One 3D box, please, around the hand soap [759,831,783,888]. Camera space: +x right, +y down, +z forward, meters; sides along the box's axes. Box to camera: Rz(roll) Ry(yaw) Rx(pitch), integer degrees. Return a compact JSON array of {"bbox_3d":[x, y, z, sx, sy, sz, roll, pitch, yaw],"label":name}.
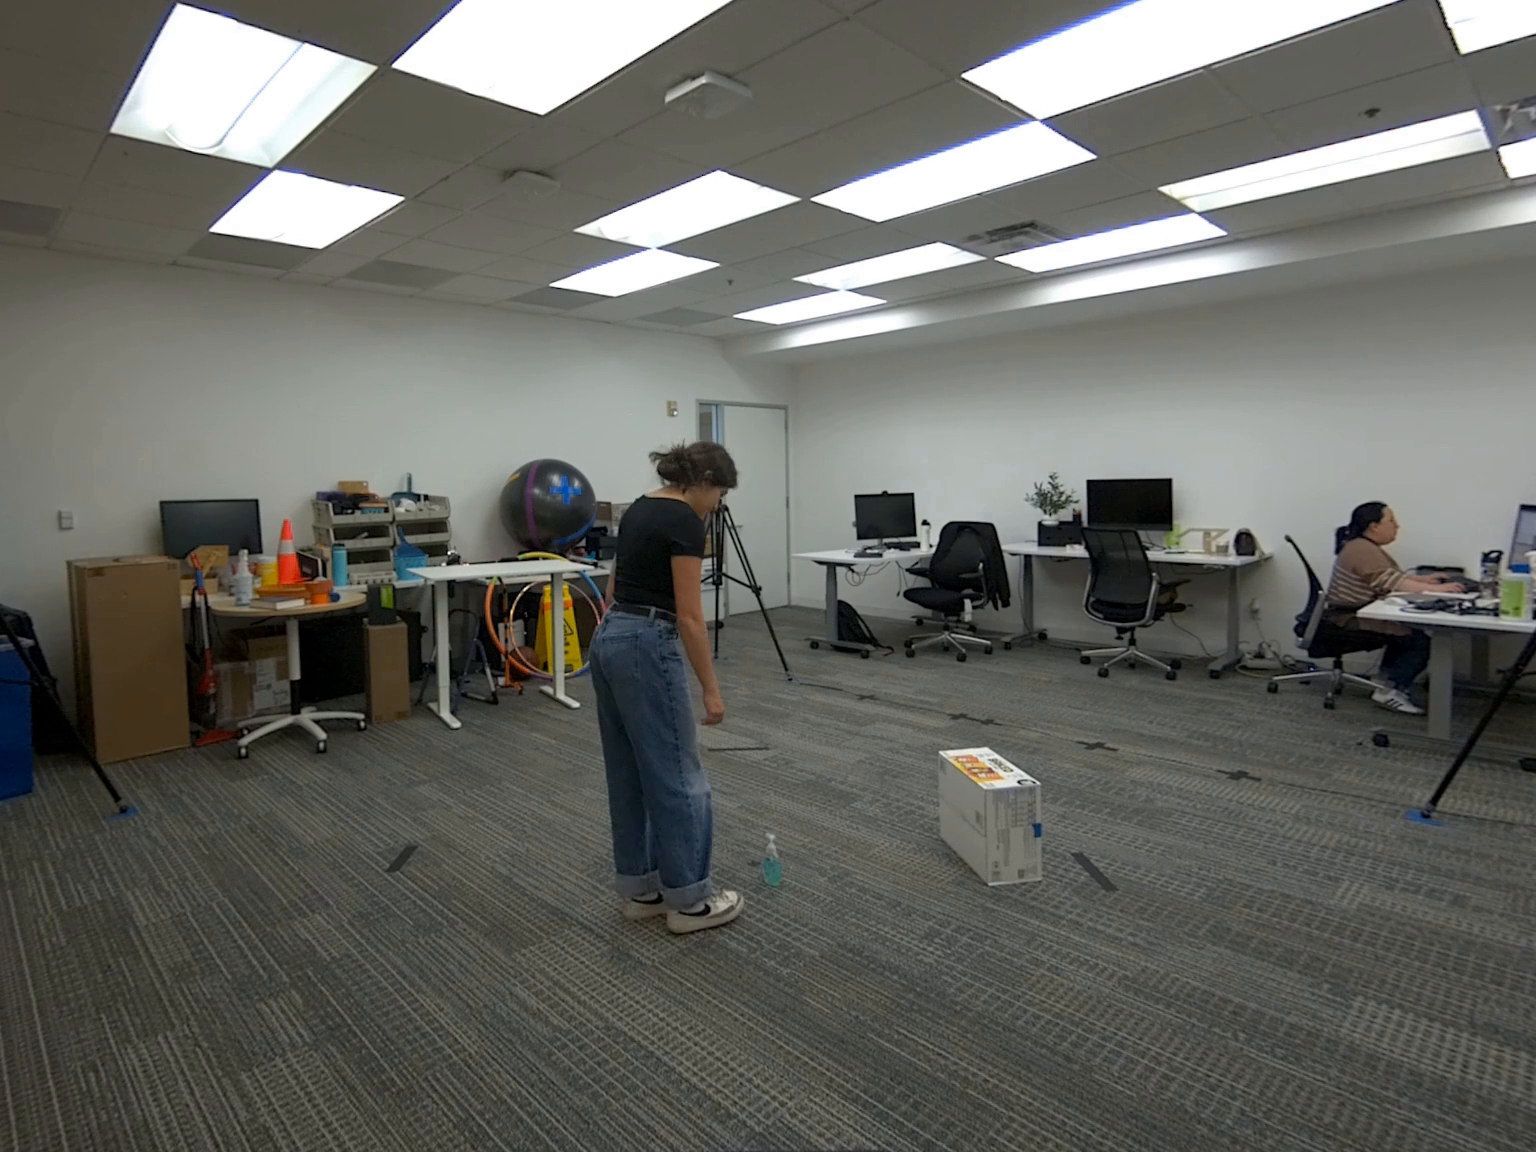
[{"bbox_3d":[0.020,0.982,2.950,0.042,0.167,0.087,-7,10,-37],"label":"hand soap"}]
